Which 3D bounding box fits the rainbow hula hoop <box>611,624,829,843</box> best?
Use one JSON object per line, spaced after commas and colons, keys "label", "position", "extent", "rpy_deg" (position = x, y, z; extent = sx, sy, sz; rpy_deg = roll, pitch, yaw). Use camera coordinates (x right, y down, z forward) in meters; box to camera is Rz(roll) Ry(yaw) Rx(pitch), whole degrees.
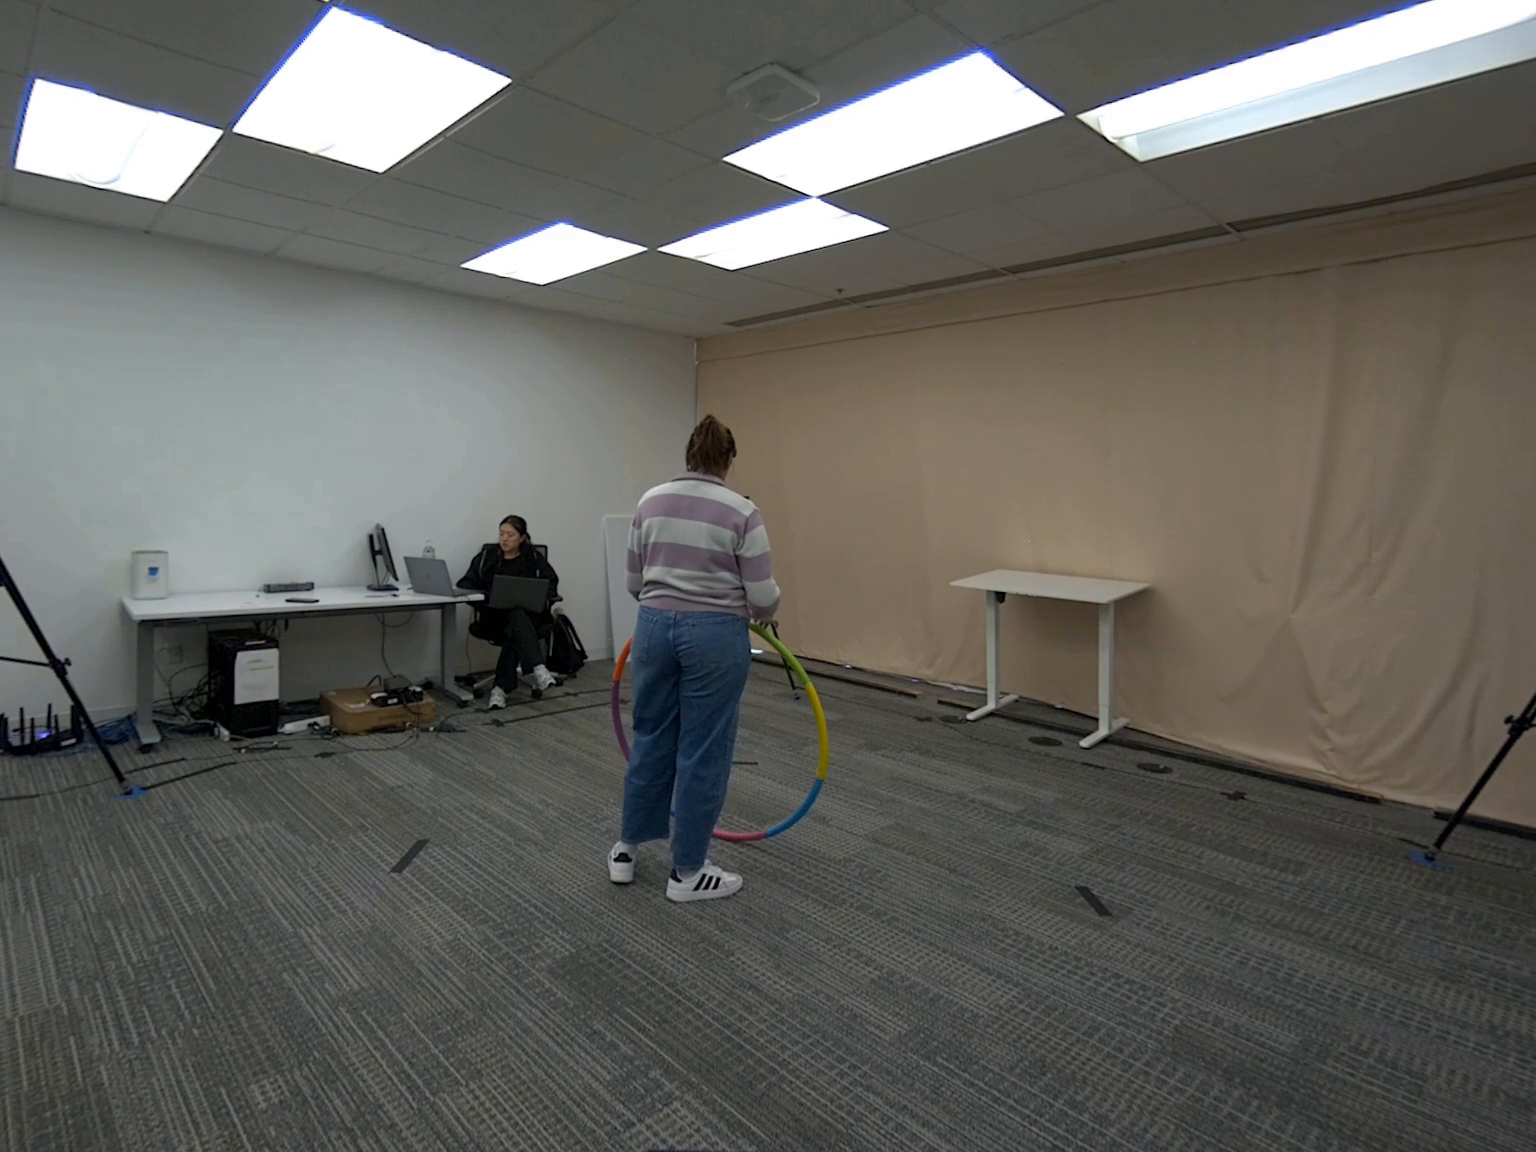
{"label": "rainbow hula hoop", "position": [-0.230, 0.593, 3.367], "extent": [1.006, 0.977, 0.051], "rpy_deg": [4, 12, 29]}
